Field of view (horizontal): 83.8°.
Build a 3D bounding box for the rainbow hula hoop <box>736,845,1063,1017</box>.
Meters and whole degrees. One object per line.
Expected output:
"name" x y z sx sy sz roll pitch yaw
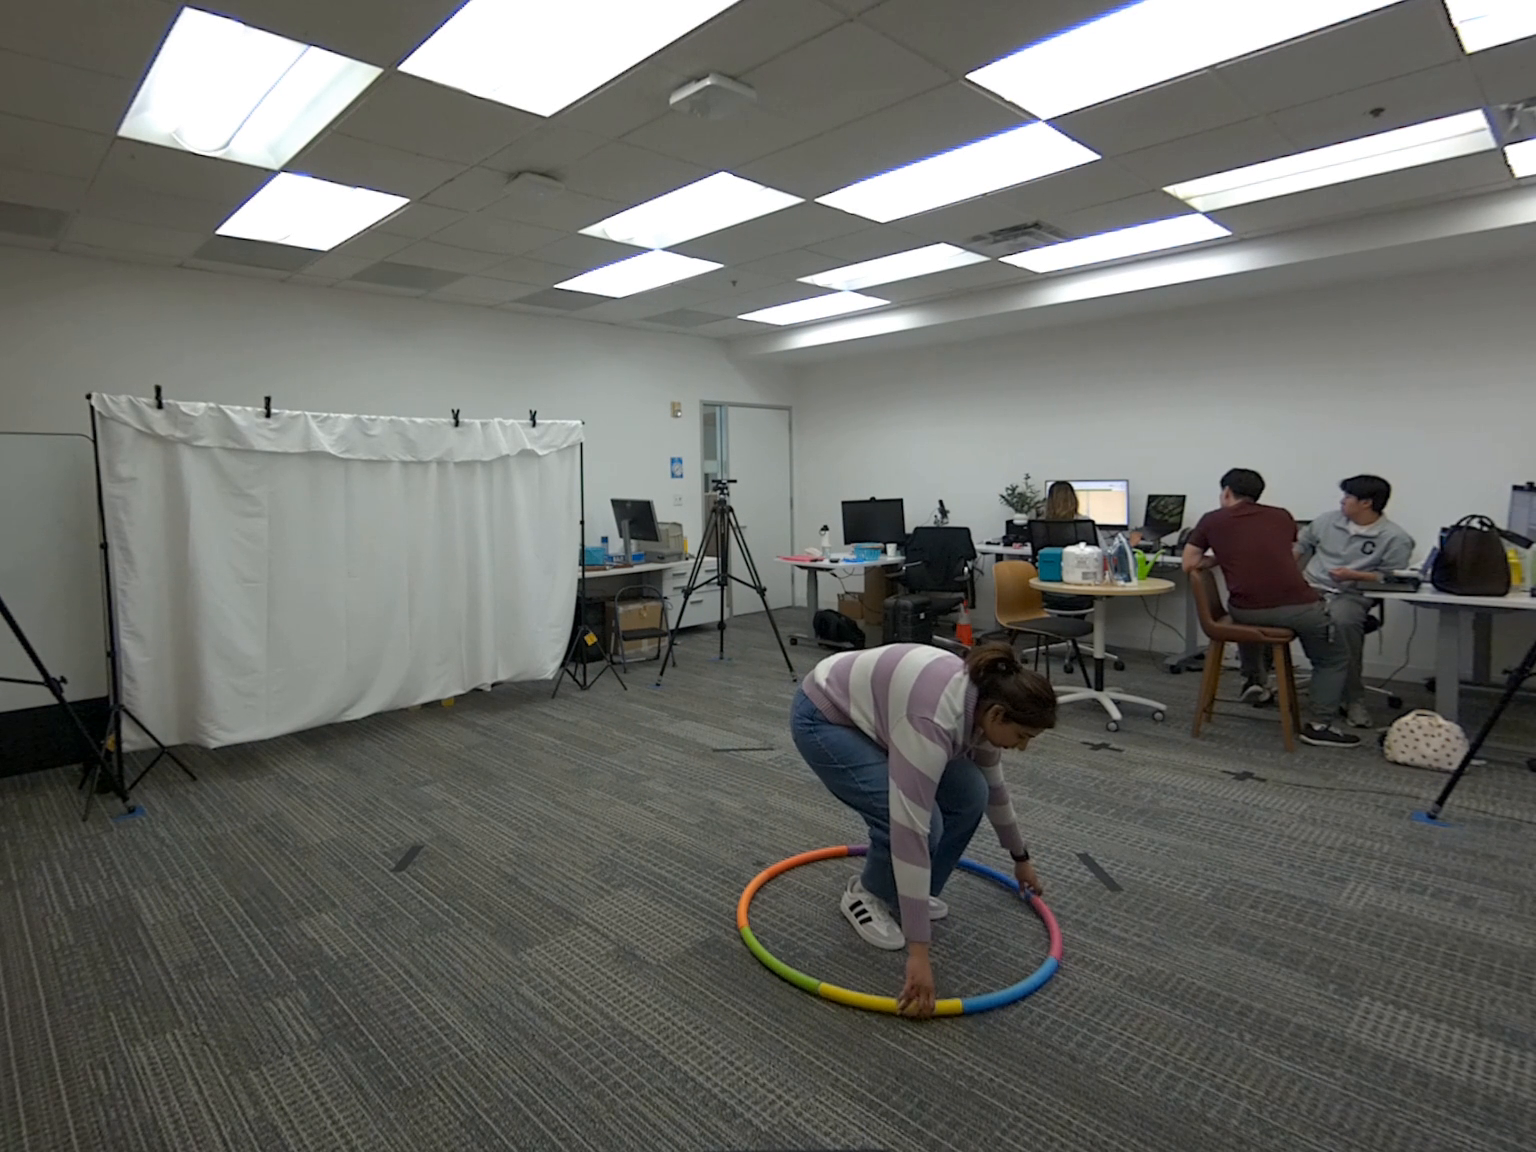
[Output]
"rainbow hula hoop" 0.395 1.051 2.690 0.978 0.035 0.984 -2 6 -1
